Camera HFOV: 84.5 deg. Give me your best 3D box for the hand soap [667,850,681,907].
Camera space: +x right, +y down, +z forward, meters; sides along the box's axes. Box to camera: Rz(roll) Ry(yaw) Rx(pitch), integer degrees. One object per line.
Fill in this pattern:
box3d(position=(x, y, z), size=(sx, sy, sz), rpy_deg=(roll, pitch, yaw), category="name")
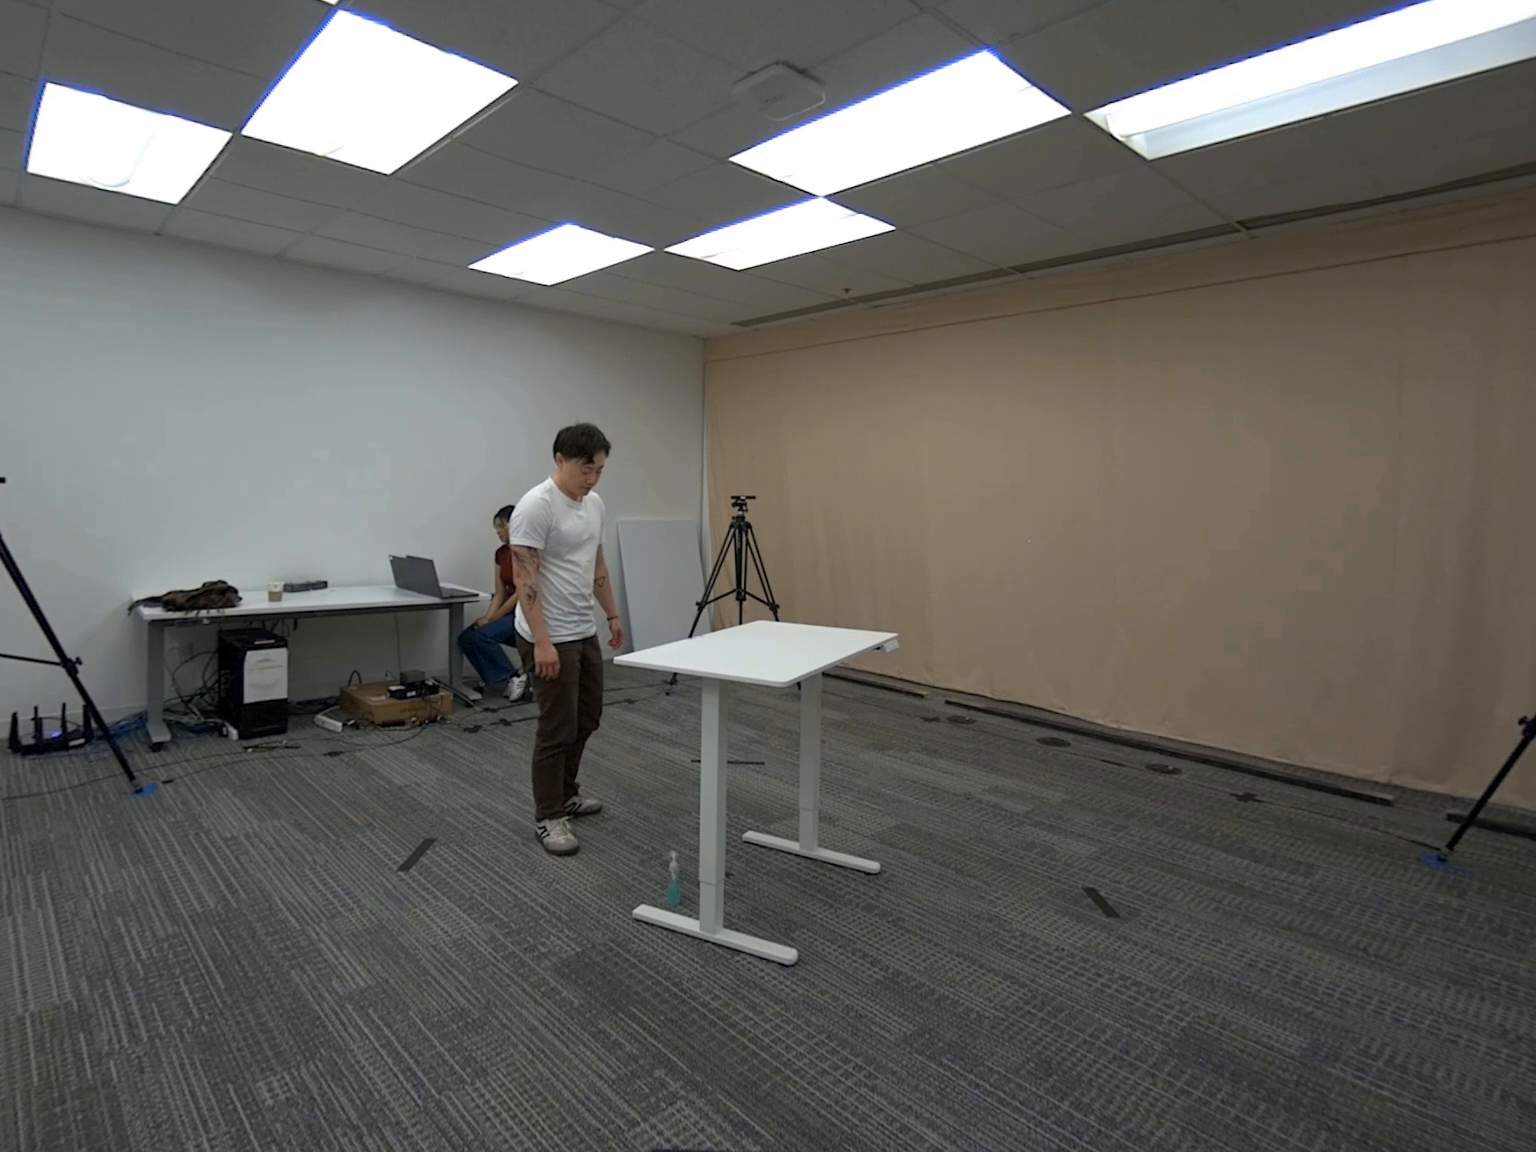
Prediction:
box3d(position=(-0.330, 1.039, 2.885), size=(0.043, 0.167, 0.085), rpy_deg=(0, 5, -5), category="hand soap")
